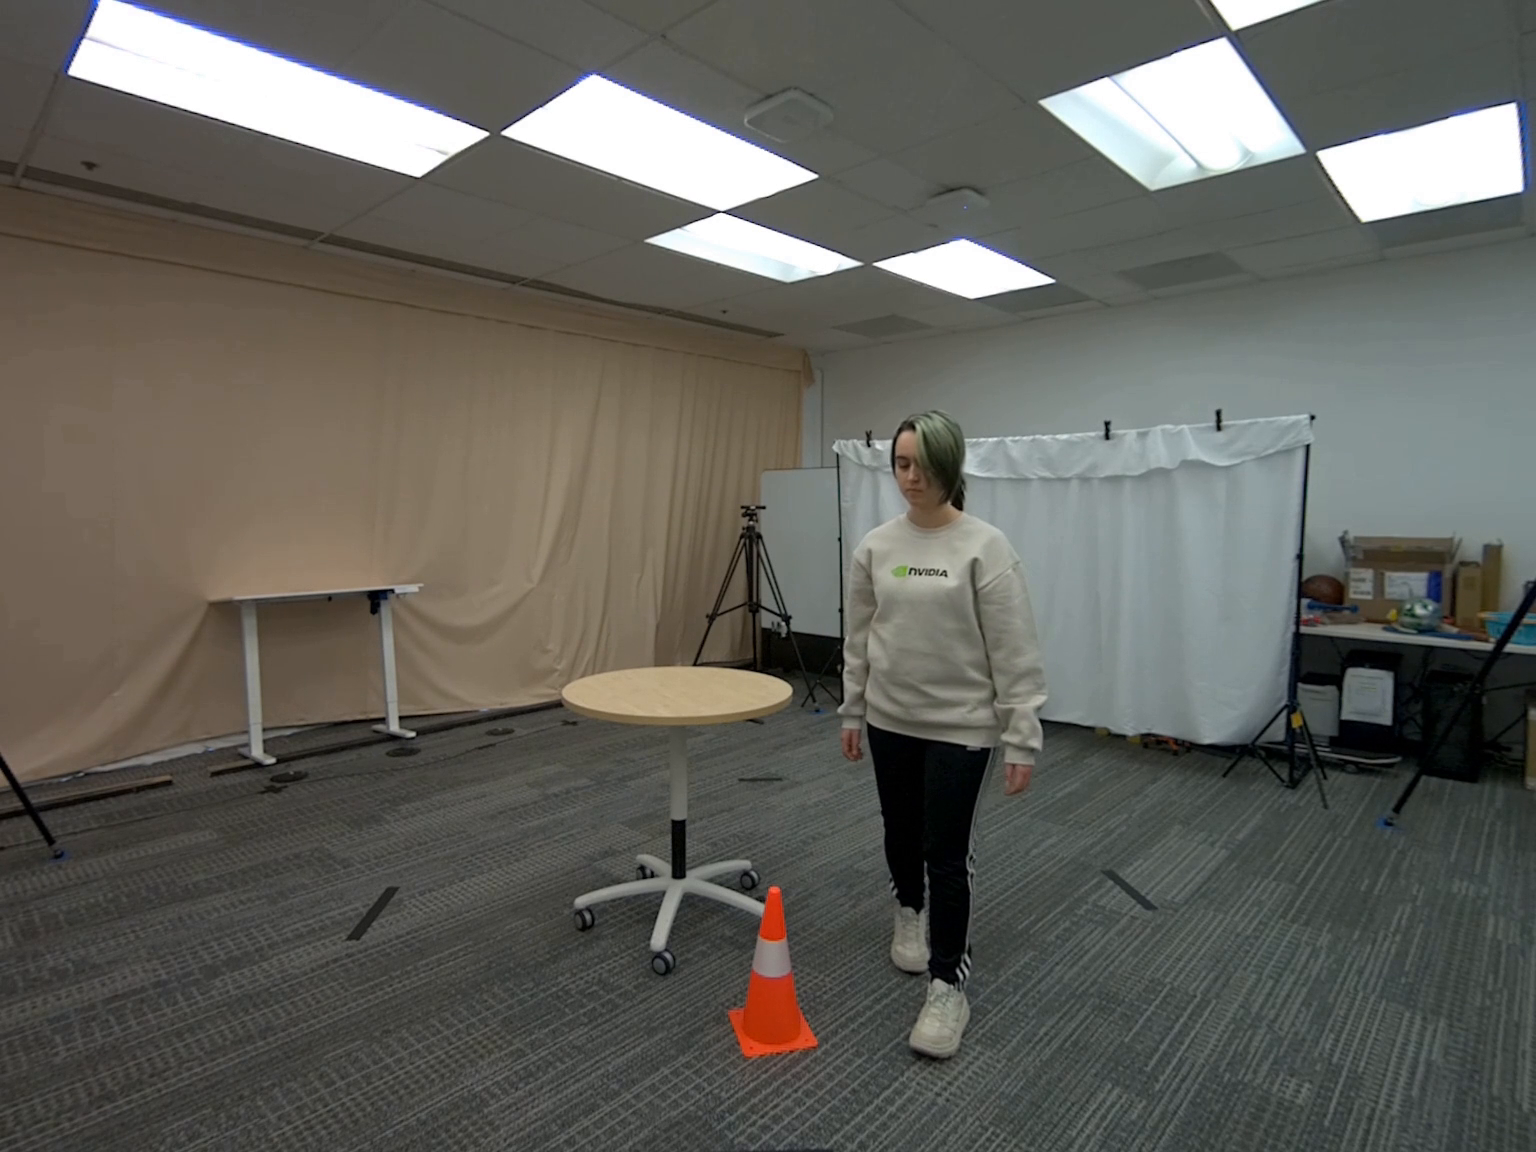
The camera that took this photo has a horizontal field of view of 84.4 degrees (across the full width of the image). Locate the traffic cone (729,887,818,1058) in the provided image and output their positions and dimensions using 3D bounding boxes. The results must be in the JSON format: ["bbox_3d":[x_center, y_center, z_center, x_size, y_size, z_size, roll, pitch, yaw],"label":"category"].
[{"bbox_3d":[0.018,1.026,2.222,0.200,0.383,0.208,0,4,-15],"label":"traffic cone"}]
